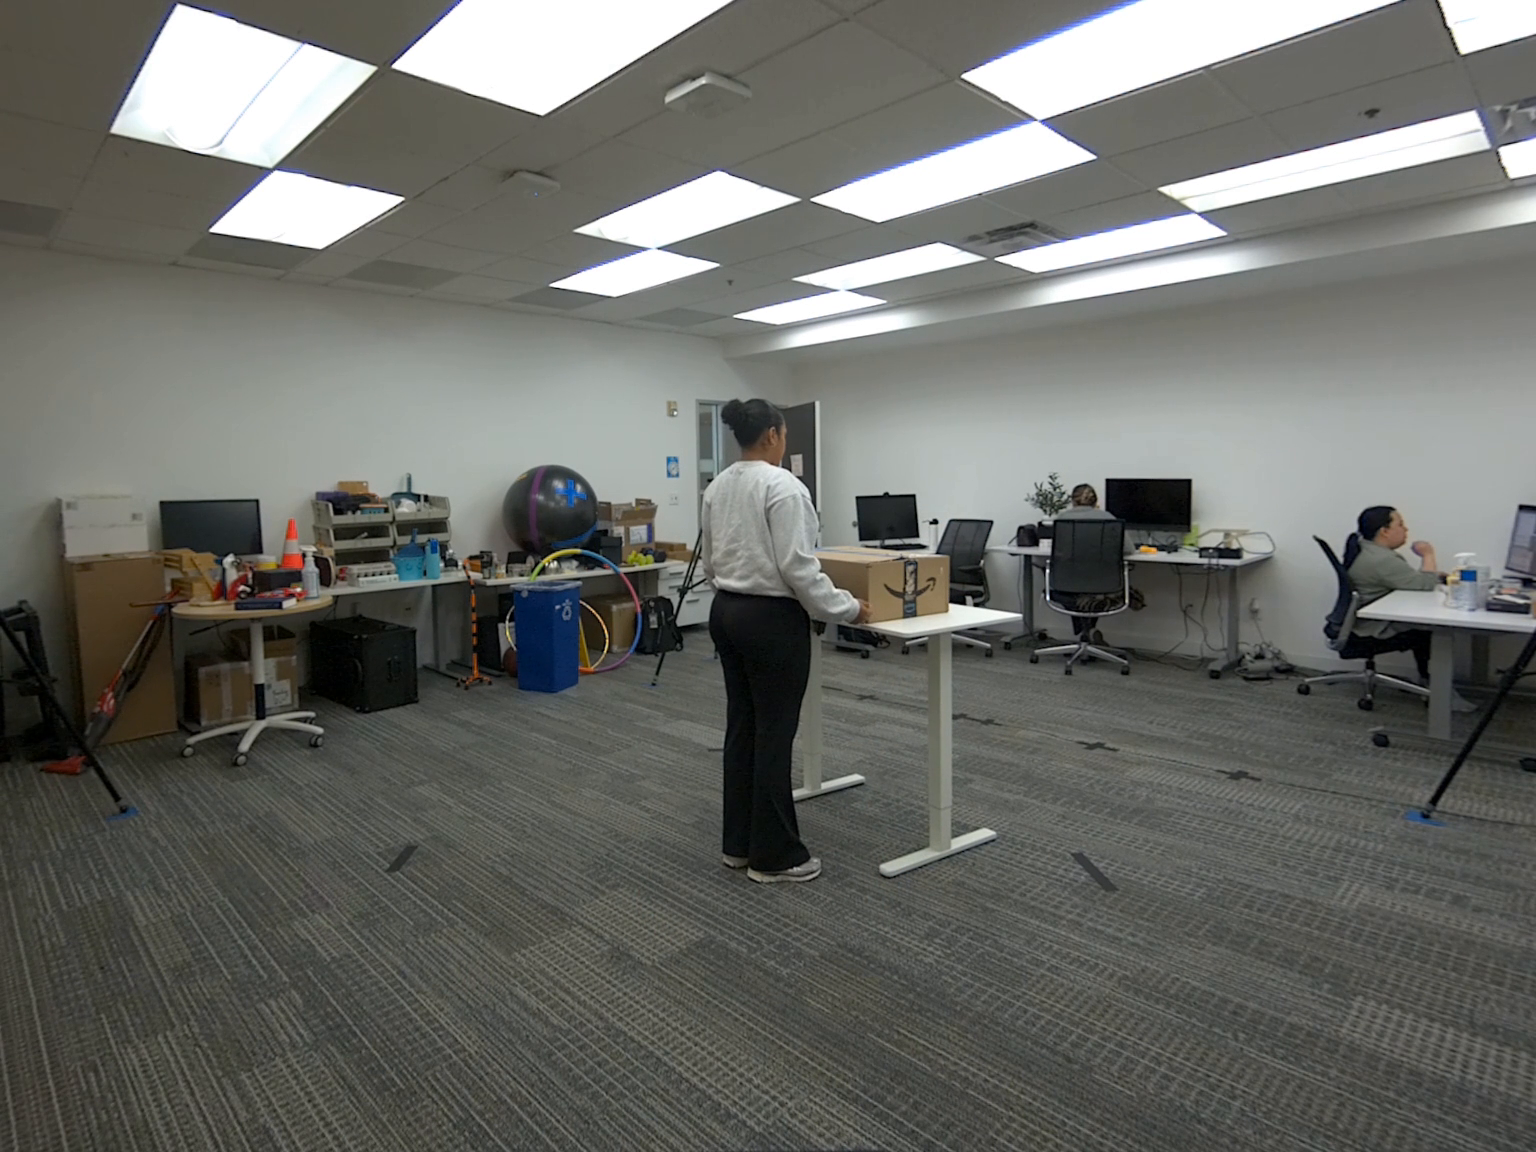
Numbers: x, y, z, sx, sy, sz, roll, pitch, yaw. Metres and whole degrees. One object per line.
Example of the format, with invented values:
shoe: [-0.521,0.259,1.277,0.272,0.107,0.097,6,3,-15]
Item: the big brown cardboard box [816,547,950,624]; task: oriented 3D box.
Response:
big brown cardboard box: [0.350,0.019,3.340,0.407,0.232,0.606,-5,6,-36]
